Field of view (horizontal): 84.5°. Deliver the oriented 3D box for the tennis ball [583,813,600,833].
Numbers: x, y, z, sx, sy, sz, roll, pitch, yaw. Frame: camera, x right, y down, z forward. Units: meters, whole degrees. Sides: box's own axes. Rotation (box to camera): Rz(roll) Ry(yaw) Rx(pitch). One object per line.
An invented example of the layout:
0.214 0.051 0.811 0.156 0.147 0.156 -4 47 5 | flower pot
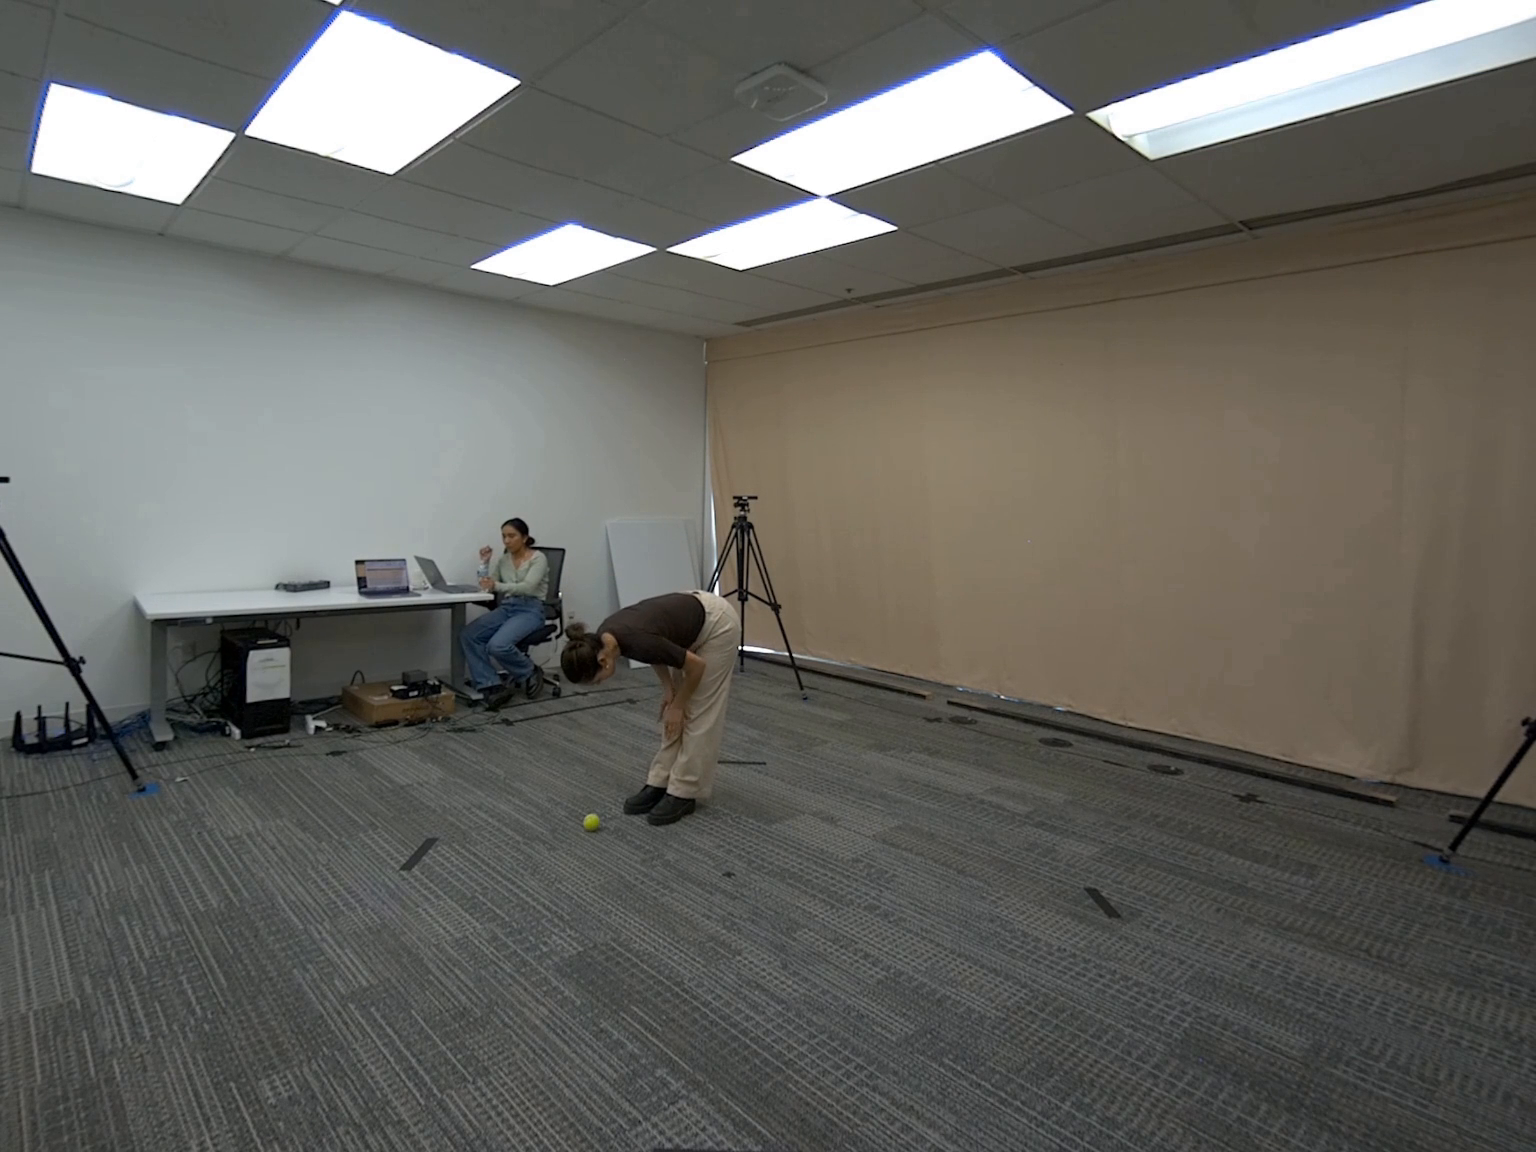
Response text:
-0.734 1.020 3.484 0.066 0.066 0.067 1 4 -1 | tennis ball
